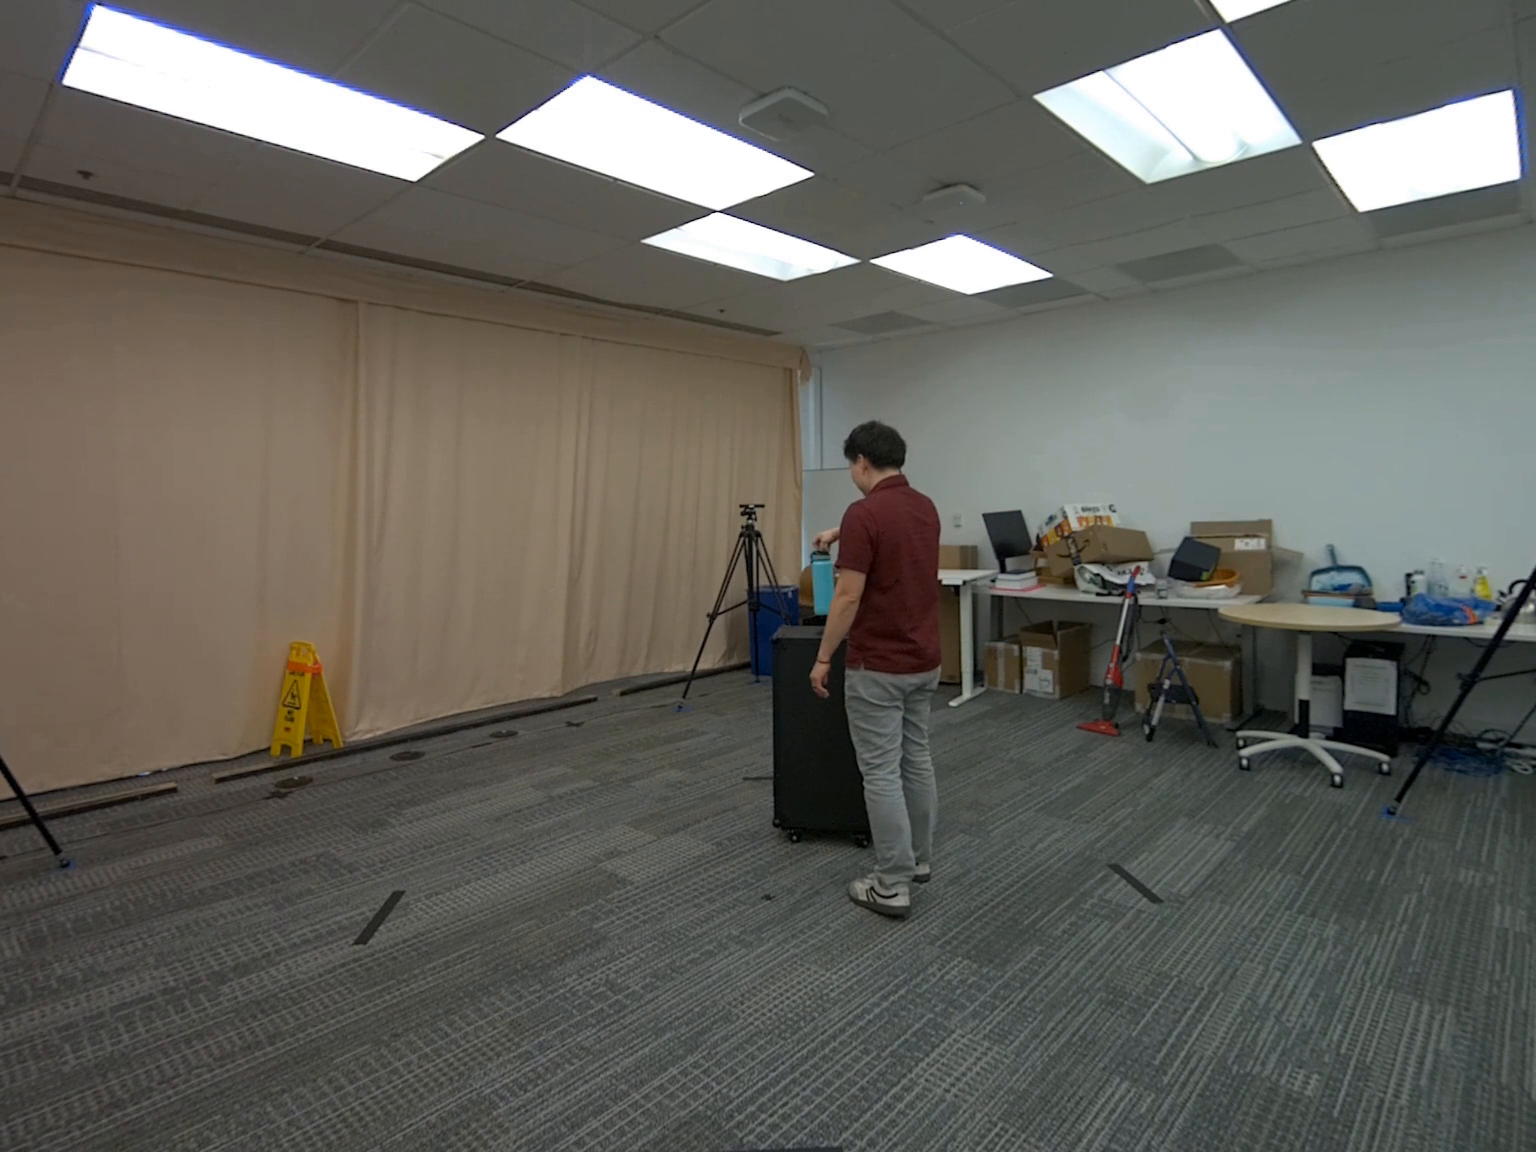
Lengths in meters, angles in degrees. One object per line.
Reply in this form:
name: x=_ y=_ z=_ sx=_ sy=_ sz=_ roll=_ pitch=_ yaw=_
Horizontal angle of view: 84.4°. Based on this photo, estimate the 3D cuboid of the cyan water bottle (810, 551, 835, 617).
cyan water bottle: x=0.241 y=0.022 z=3.601 sx=0.092 sy=0.283 sz=0.092 roll=-4 pitch=1 yaw=-2
